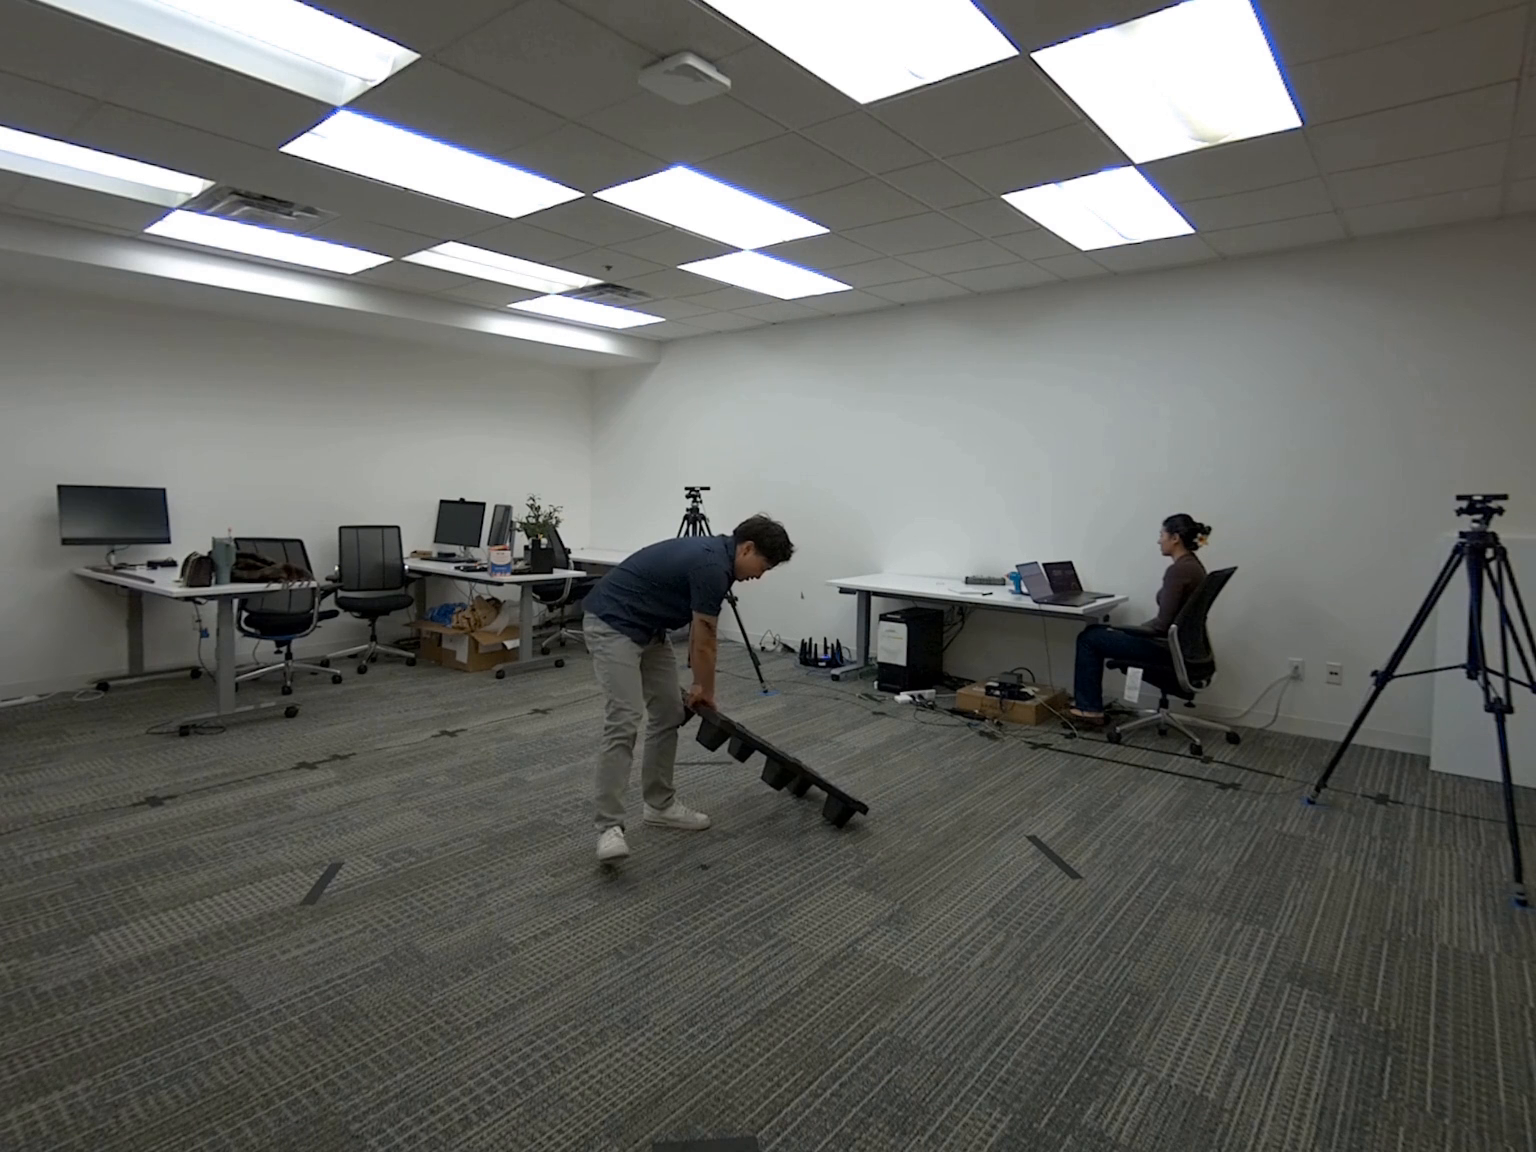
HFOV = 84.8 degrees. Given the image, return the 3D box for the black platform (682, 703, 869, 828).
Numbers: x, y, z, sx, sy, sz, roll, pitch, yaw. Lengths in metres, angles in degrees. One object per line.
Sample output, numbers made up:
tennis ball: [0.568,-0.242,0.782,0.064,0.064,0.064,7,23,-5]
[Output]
black platform: [-0.044,0.763,3.616,0.785,0.144,0.620,36,-10,-20]
